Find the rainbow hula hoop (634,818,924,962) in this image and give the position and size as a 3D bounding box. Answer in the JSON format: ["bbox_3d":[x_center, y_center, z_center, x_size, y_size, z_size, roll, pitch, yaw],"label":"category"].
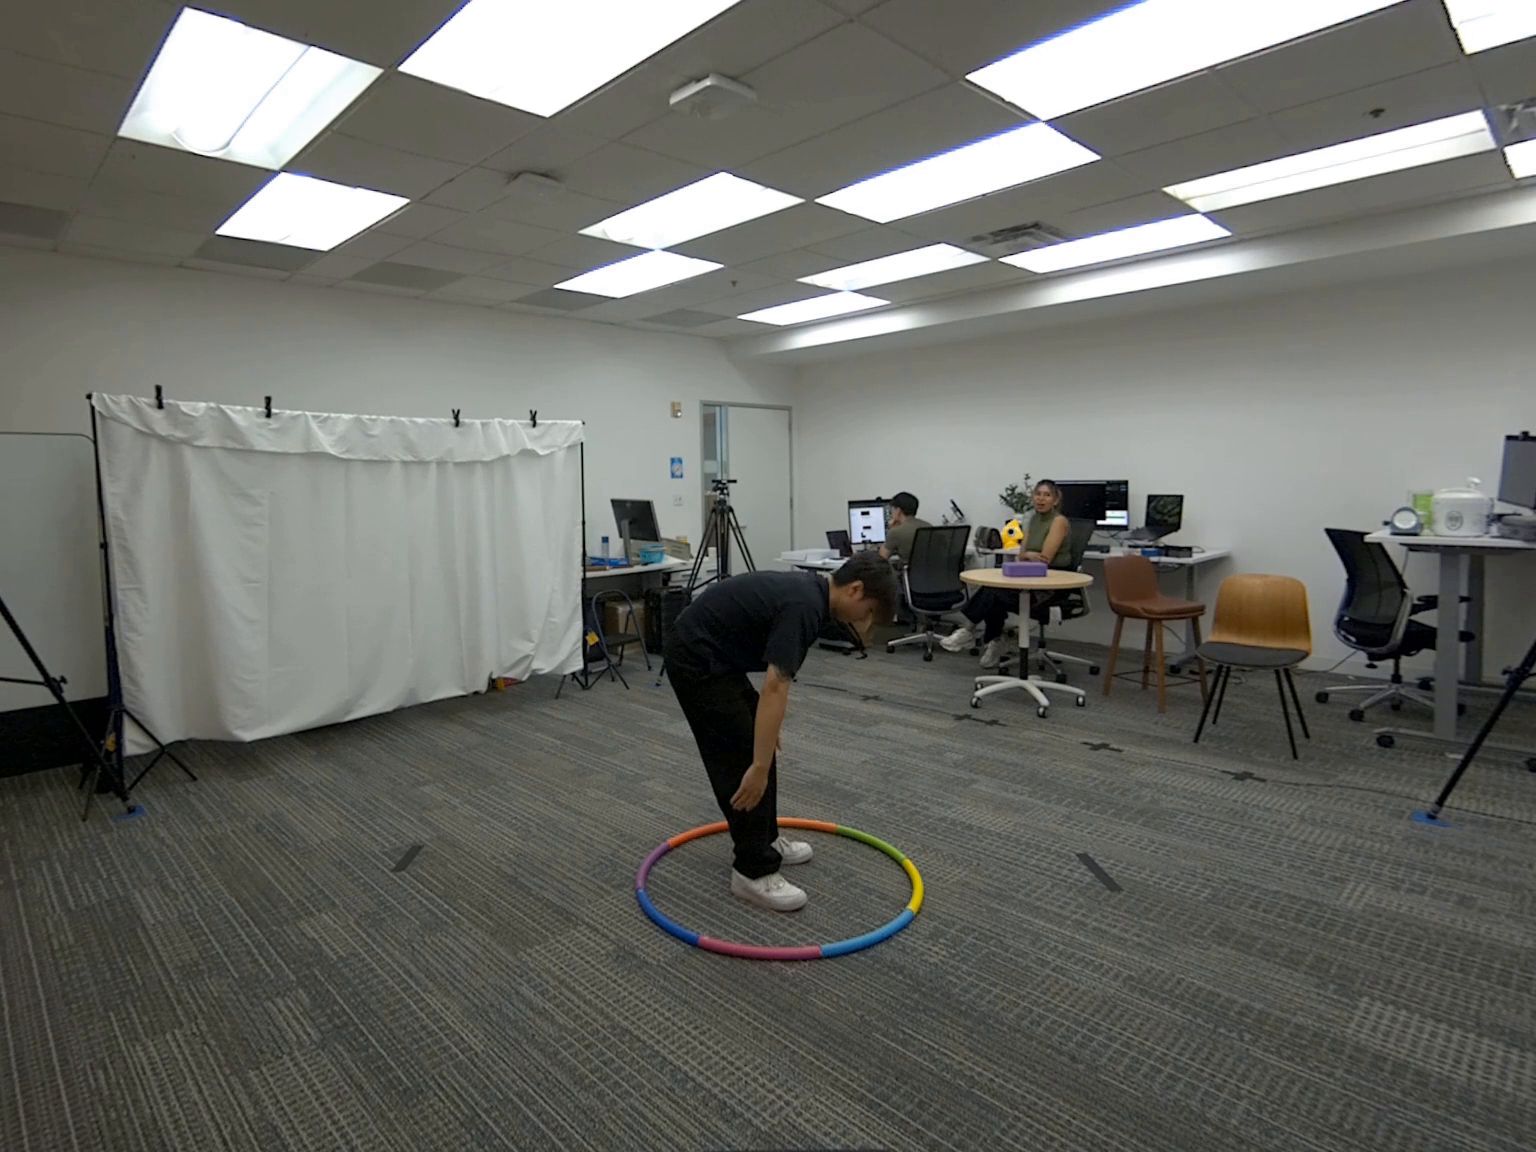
[{"bbox_3d":[0.031,1.033,2.969,0.978,0.035,0.984,-1,6,-2],"label":"rainbow hula hoop"}]
